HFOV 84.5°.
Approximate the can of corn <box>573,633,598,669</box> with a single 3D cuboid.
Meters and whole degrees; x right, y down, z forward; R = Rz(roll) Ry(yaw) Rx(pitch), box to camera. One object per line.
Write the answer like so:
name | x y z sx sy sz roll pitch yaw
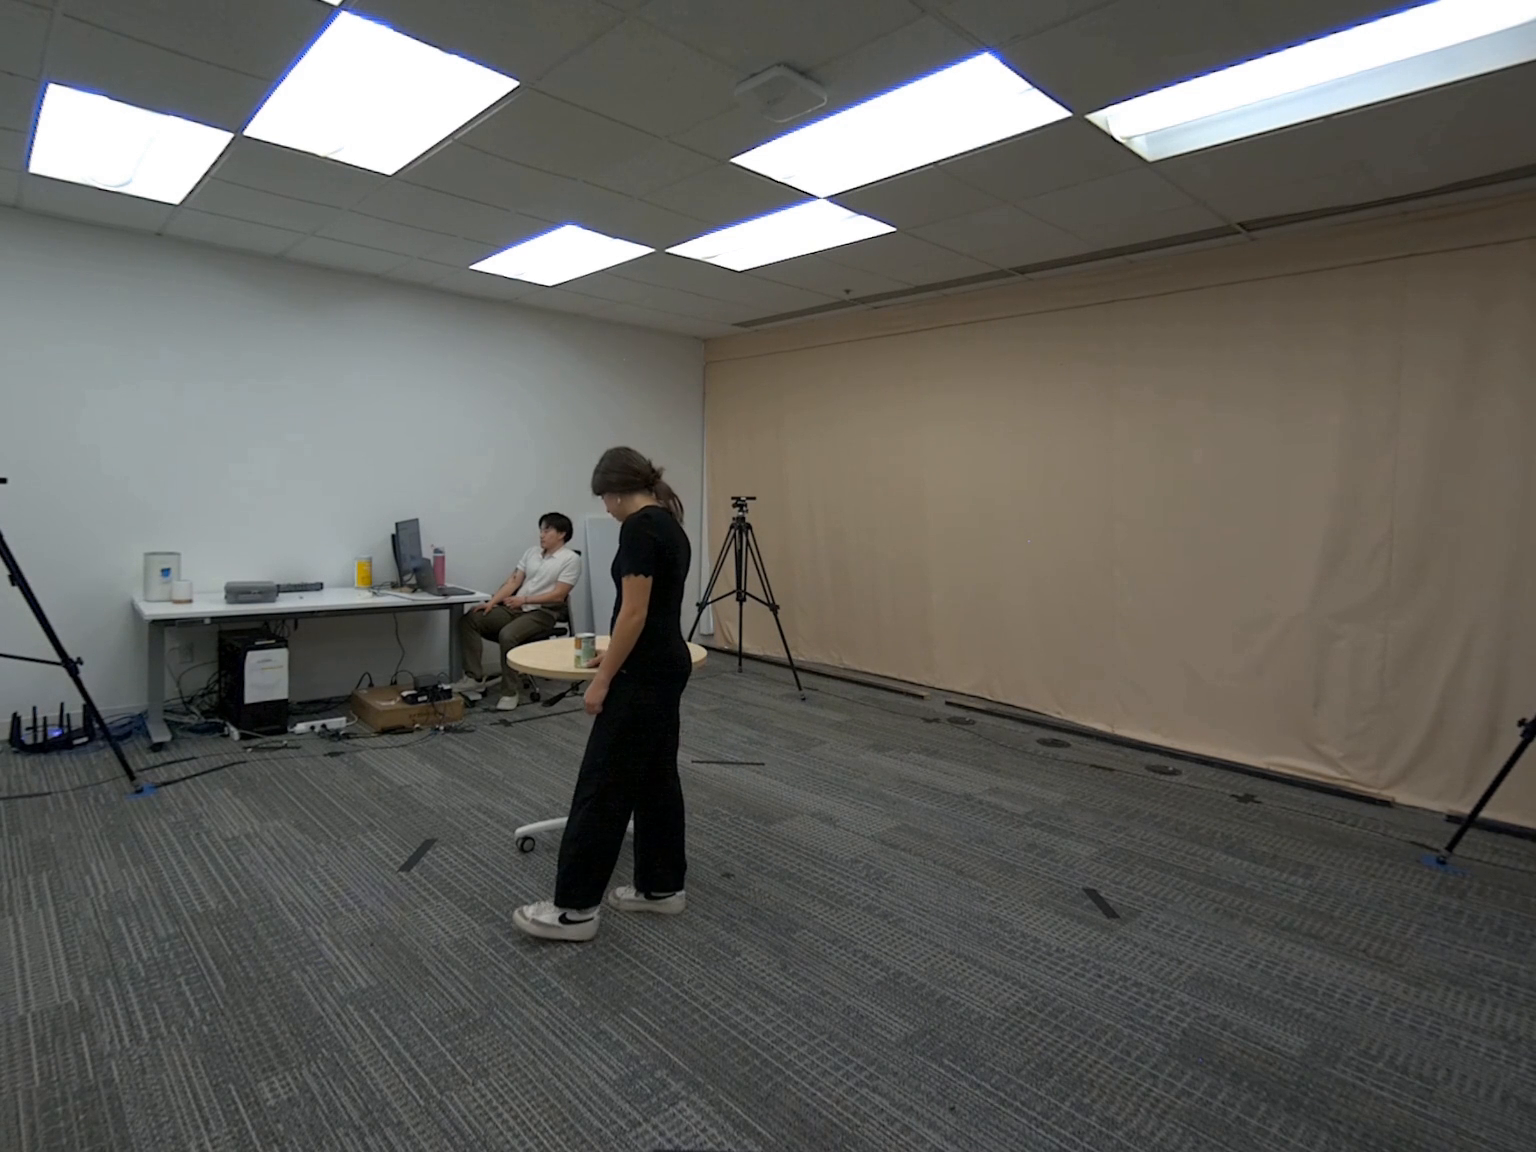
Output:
can of corn | -0.652 0.265 2.993 0.074 0.111 0.074 2 2 -1
